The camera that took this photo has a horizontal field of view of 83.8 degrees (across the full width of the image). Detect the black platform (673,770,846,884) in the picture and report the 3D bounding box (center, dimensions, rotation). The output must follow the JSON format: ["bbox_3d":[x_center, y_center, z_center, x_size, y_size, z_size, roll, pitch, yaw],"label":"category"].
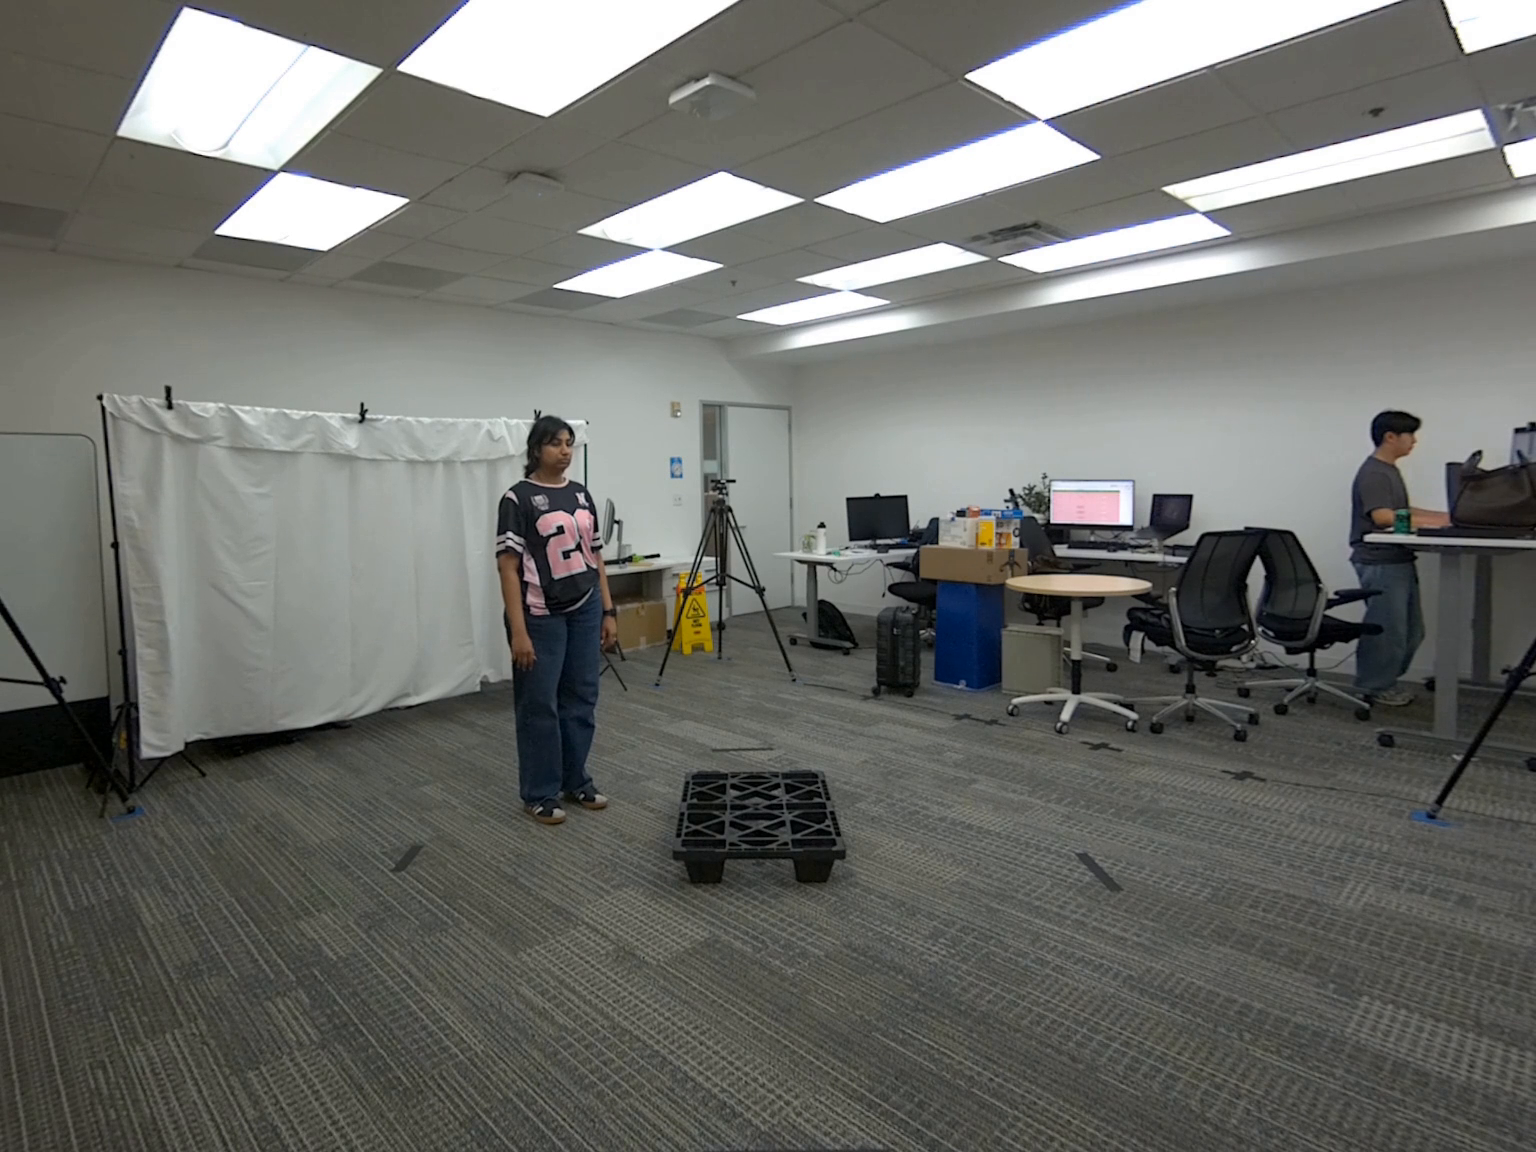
[{"bbox_3d":[-0.036,0.956,3.314,0.605,0.142,0.809,-1,6,-1],"label":"black platform"}]
